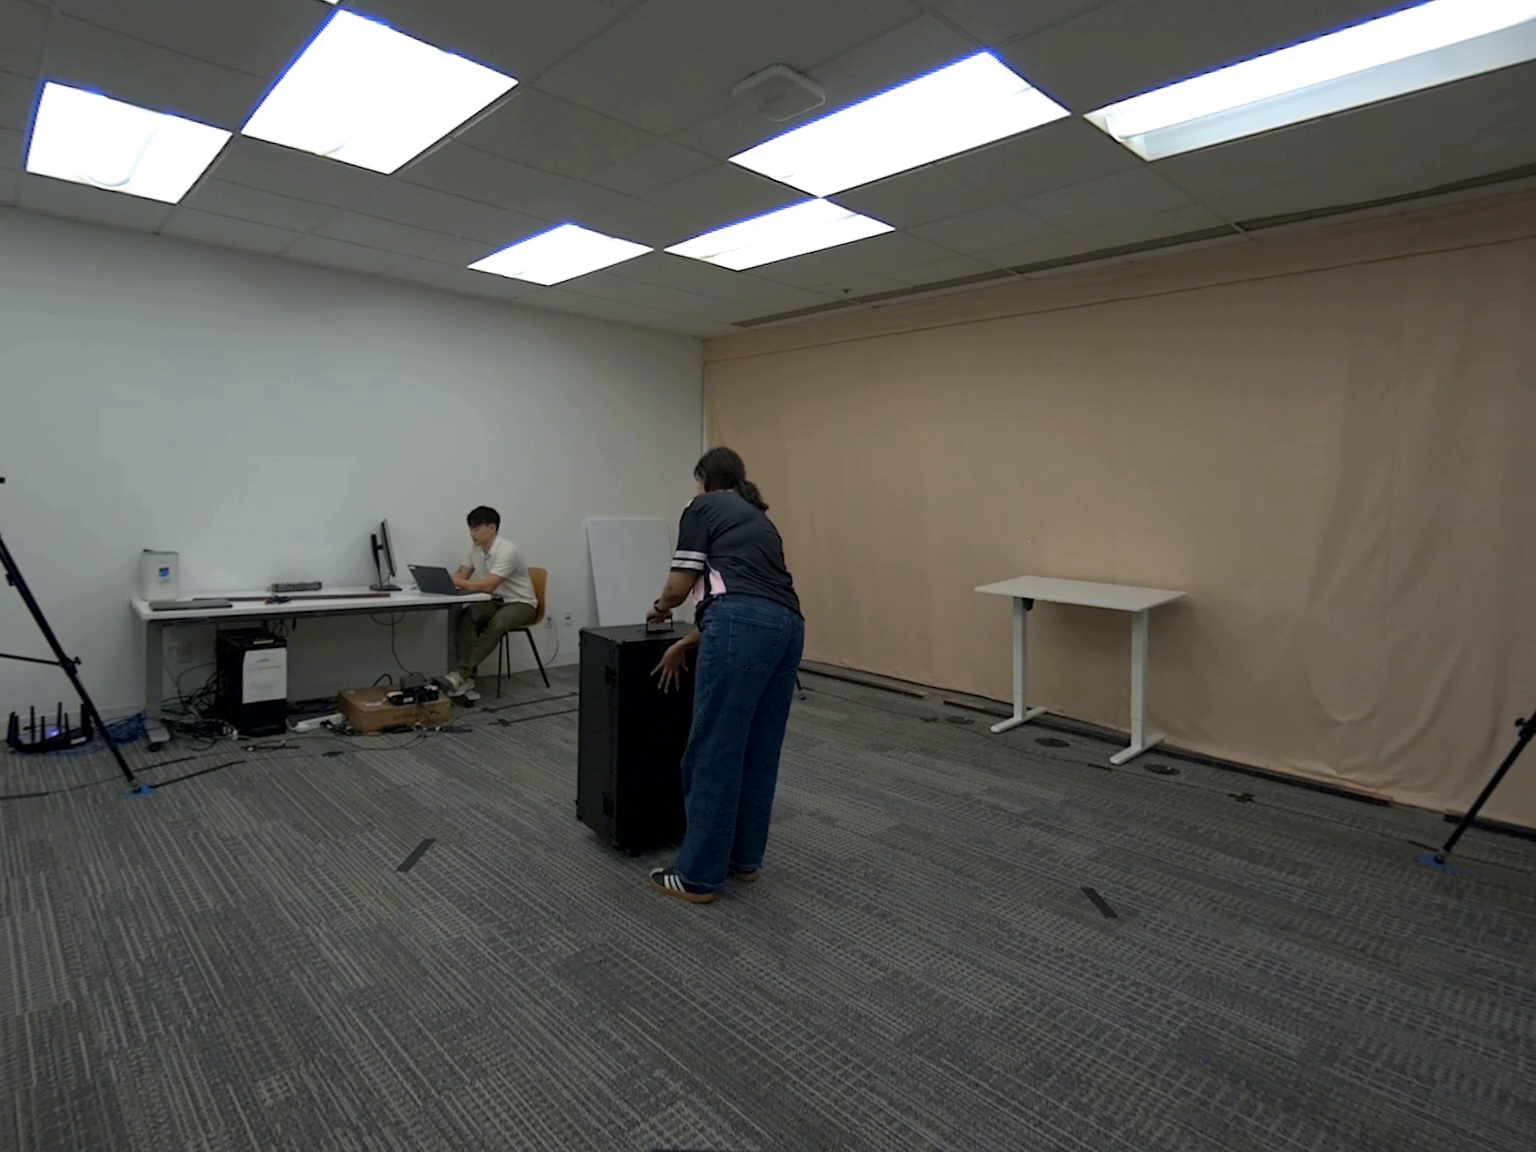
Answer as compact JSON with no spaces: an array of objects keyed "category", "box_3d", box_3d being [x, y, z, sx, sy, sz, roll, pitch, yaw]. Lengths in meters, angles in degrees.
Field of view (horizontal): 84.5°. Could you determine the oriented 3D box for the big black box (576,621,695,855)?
[{"category":"big black box","box_3d":[-0.495,0.650,3.404,0.512,0.866,0.395,-1,5,-36]}]
